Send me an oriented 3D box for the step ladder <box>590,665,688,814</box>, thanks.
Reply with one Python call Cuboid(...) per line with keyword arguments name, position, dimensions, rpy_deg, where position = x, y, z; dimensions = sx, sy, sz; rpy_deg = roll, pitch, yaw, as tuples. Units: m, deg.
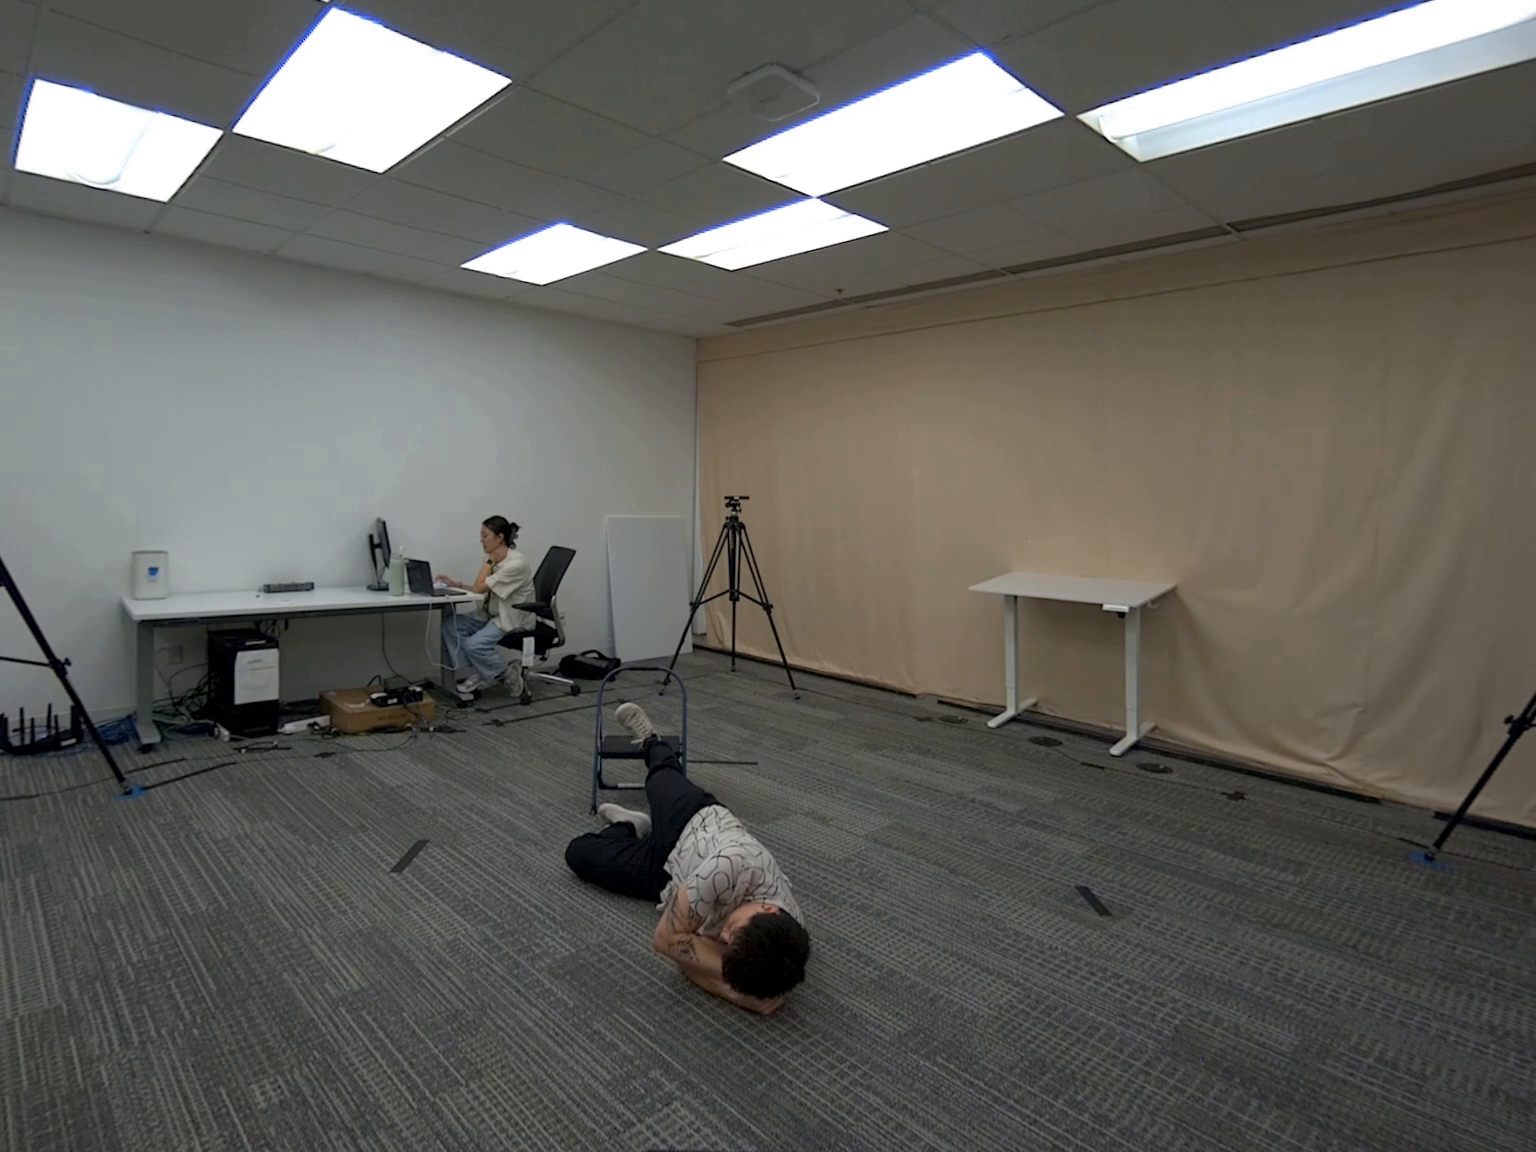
Cuboid(name="step ladder", position=(-0.587, 0.732, 3.842), dimensions=(0.428, 0.604, 0.352), rpy_deg=(2, 4, -6))
